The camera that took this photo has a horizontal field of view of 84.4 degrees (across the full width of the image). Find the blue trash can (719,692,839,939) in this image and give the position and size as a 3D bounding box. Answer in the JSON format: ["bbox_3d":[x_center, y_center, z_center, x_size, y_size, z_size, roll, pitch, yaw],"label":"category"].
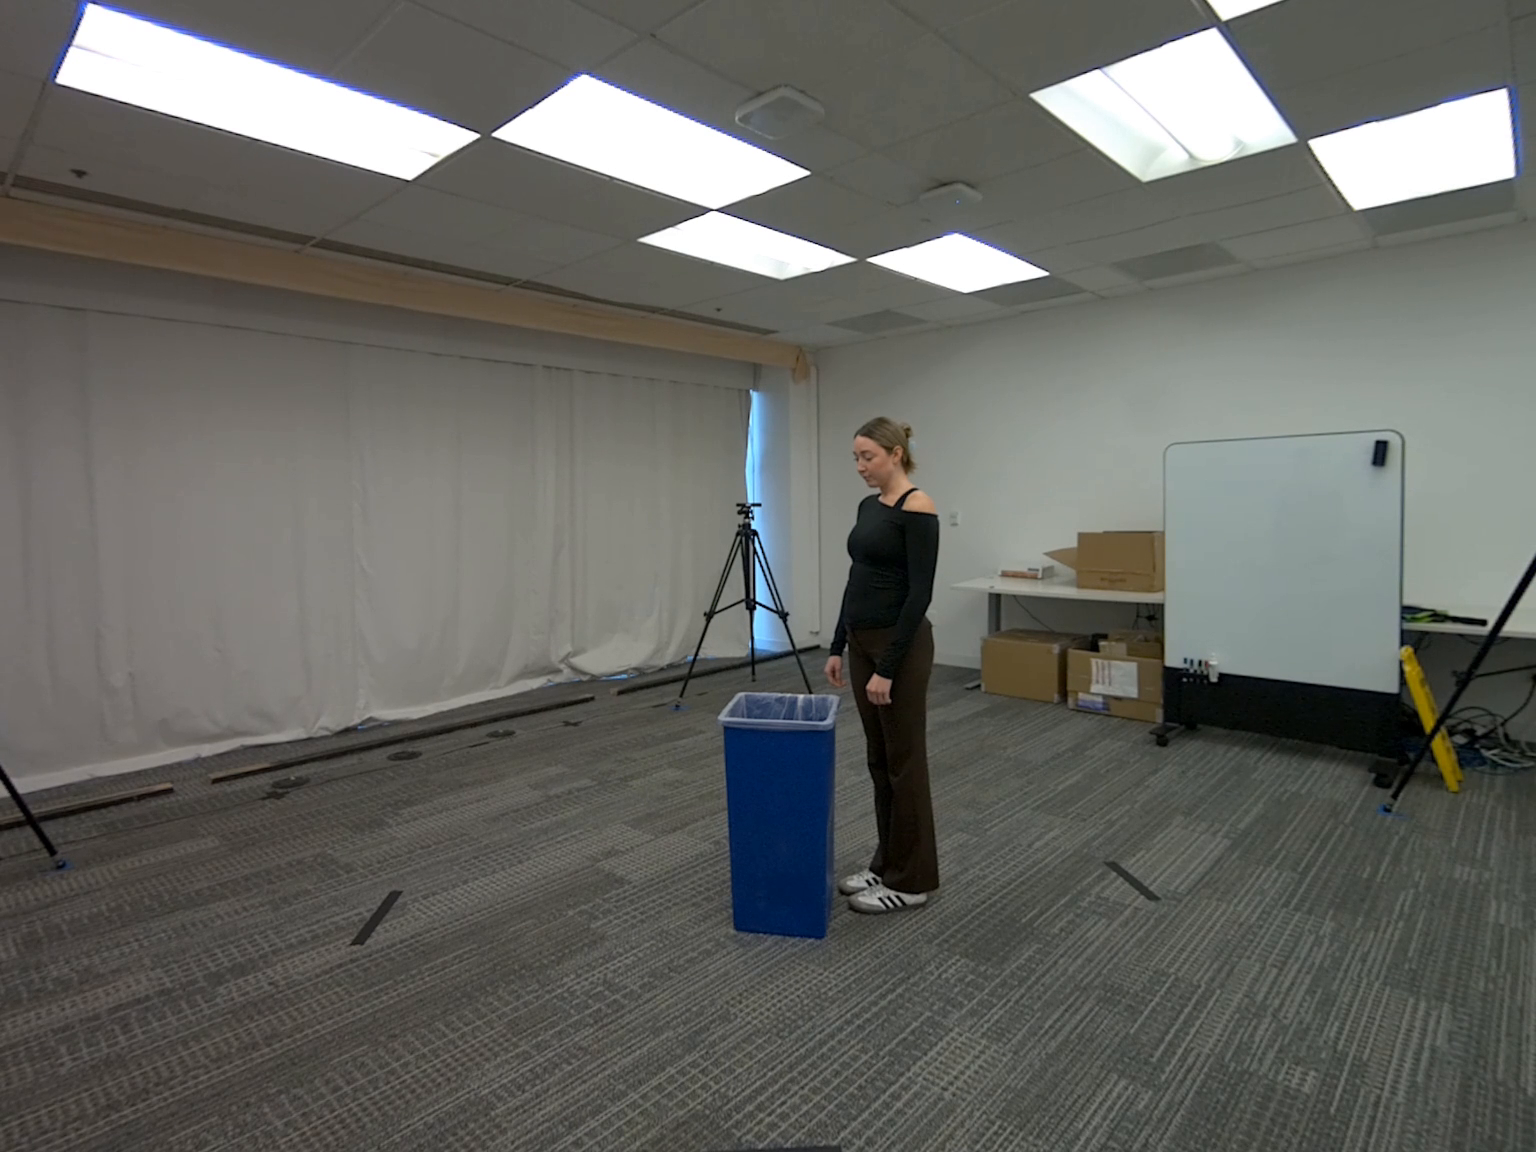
[{"bbox_3d":[0.060,0.792,2.832,0.383,0.712,0.370,0,3,11],"label":"blue trash can"}]
